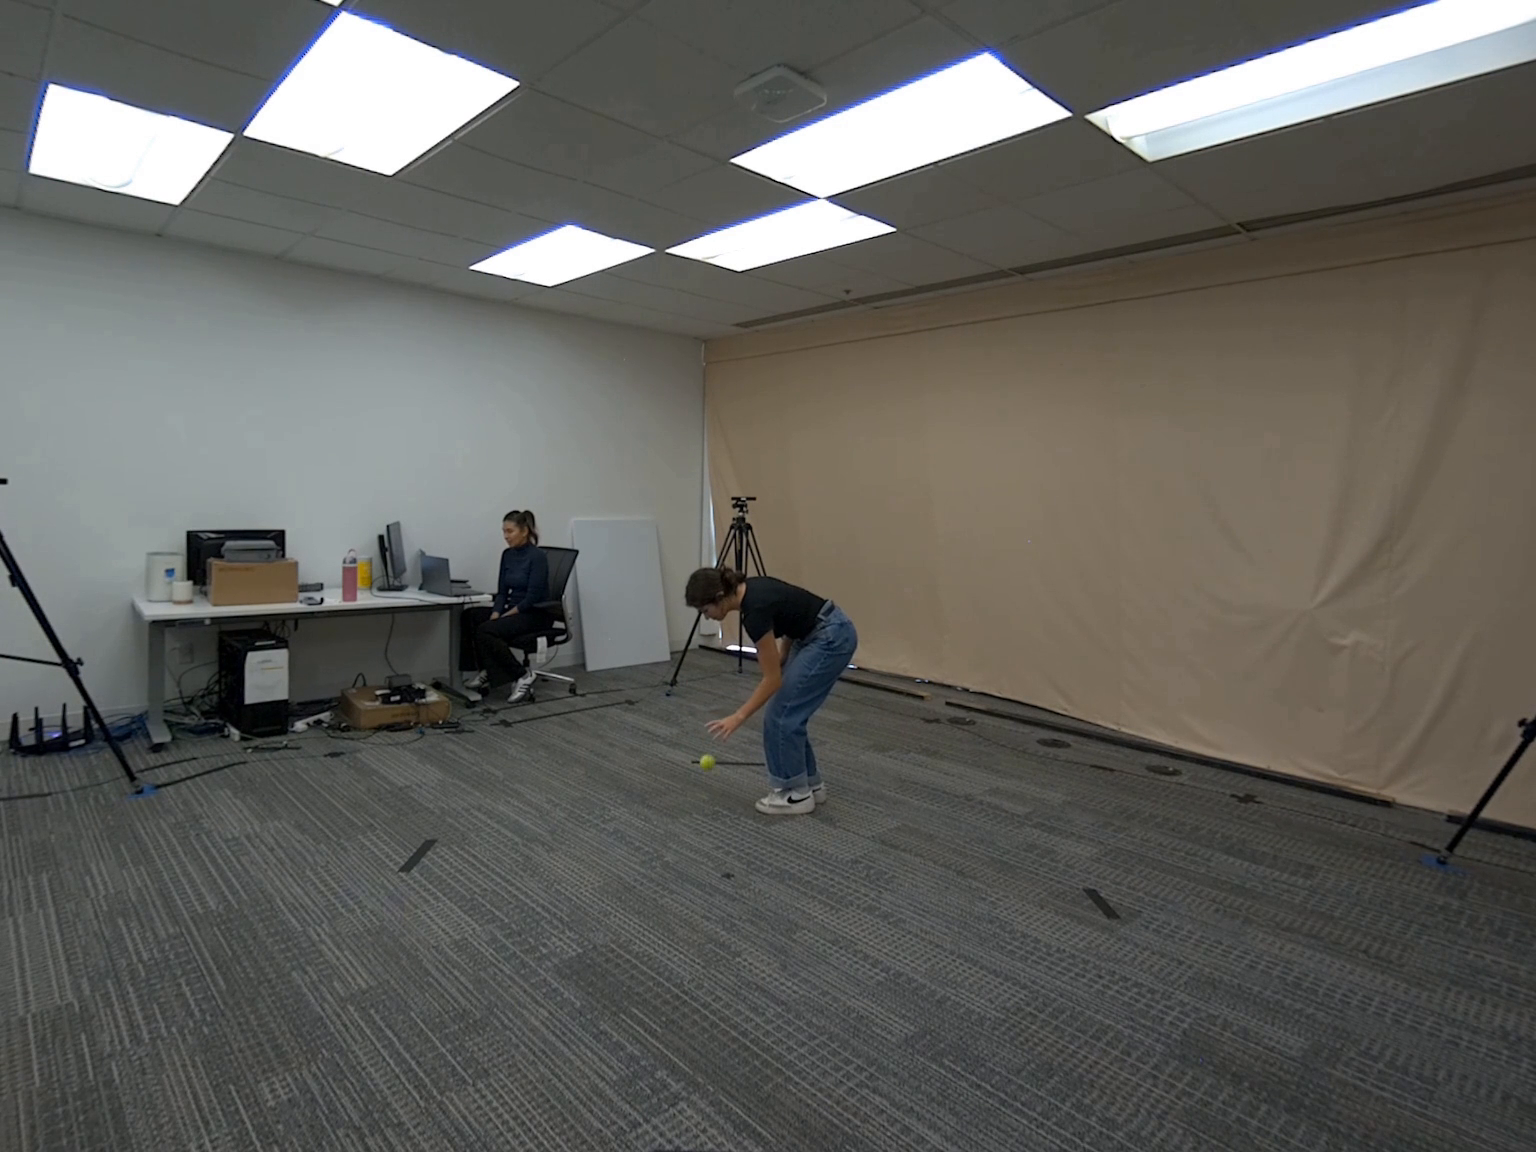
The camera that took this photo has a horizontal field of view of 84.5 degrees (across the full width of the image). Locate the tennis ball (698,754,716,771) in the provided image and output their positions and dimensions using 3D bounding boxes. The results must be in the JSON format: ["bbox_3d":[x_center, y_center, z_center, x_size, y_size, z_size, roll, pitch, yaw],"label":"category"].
[{"bbox_3d":[-0.277,0.810,3.649,0.066,0.066,0.067,1,4,-1],"label":"tennis ball"}]
